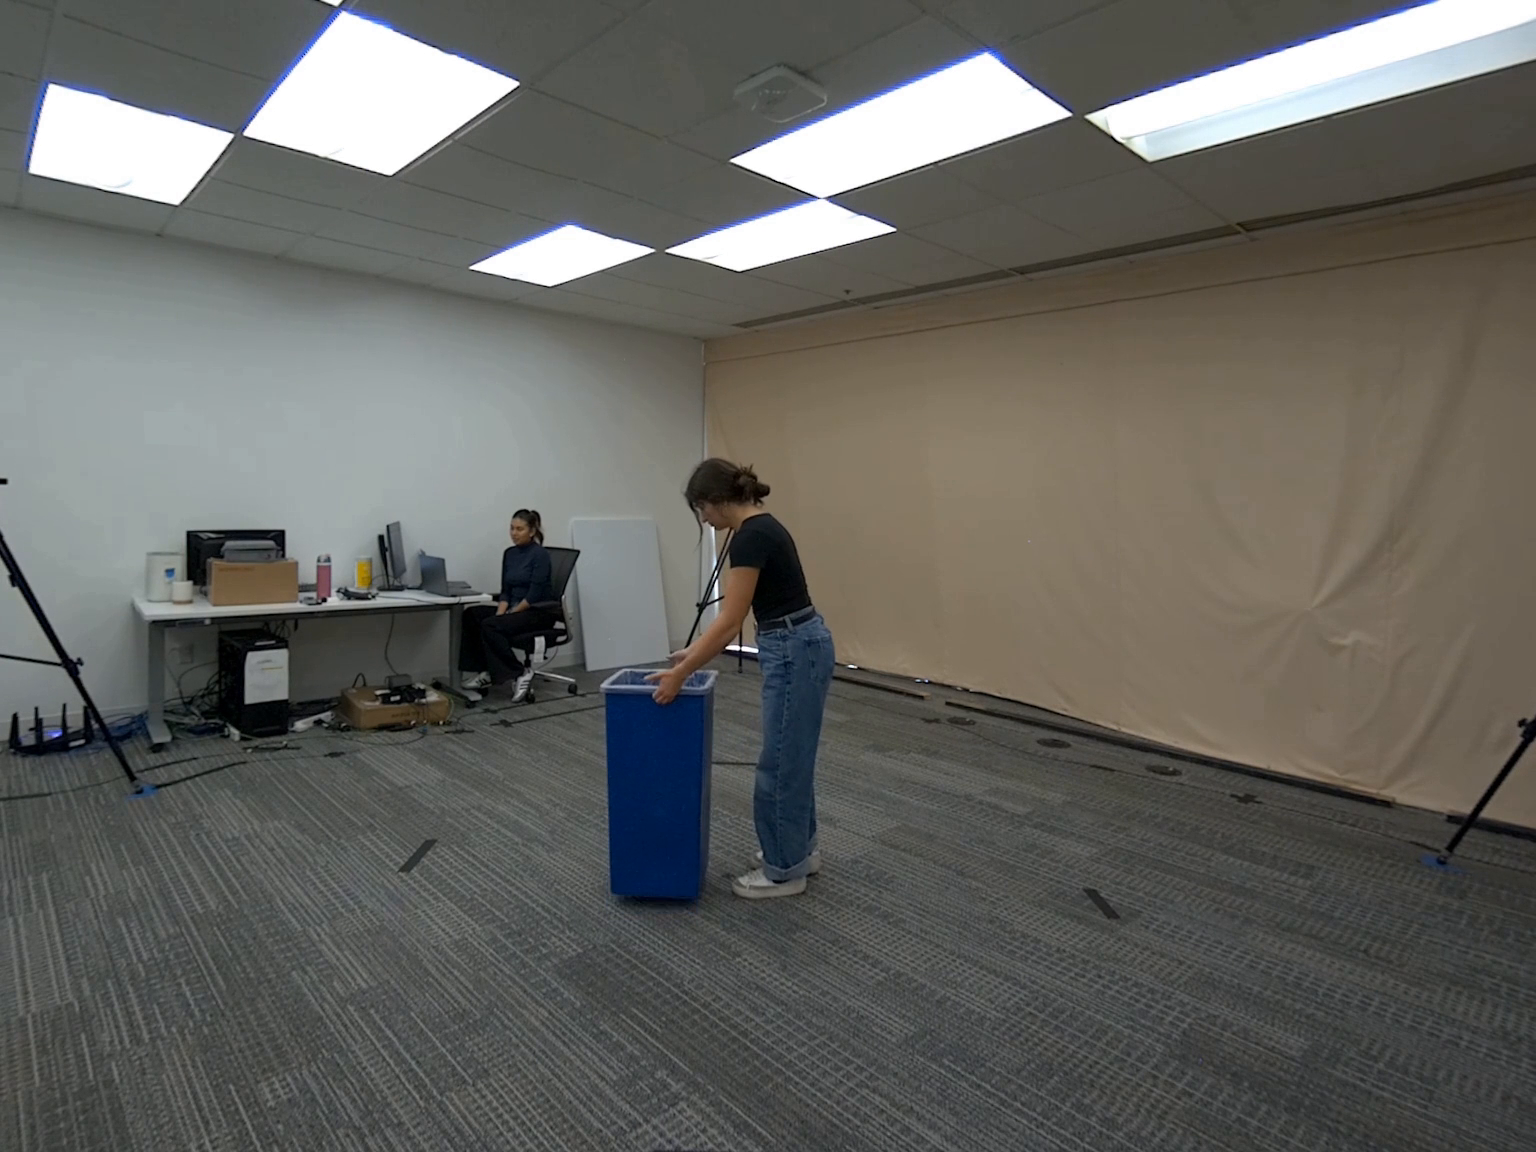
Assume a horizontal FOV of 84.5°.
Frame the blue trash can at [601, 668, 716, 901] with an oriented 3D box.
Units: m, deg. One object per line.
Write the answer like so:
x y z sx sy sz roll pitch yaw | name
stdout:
-0.375 0.715 2.967 0.379 0.713 0.373 0 1 4 | blue trash can
